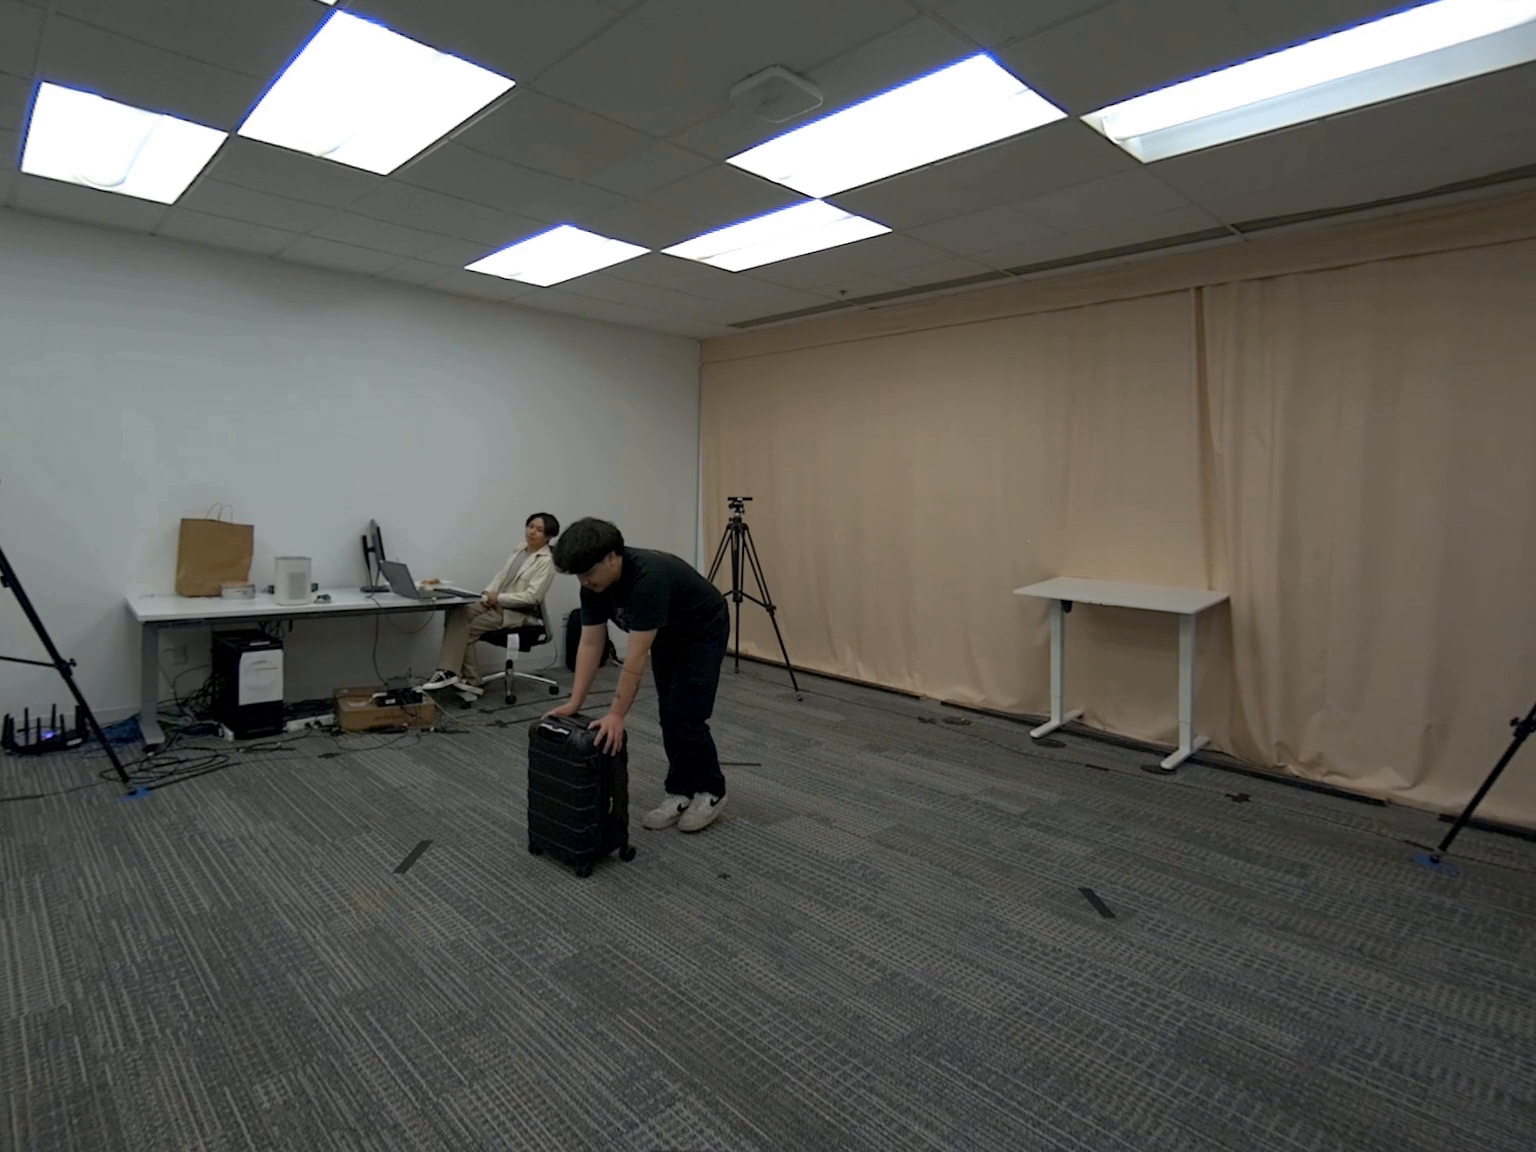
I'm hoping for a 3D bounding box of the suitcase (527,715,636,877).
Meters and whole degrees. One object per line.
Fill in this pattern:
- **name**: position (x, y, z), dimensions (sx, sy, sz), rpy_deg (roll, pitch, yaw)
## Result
- **suitcase**: position (-0.738, 0.814, 3.218), dimensions (0.385, 0.547, 0.243), rpy_deg (5, 7, 40)
